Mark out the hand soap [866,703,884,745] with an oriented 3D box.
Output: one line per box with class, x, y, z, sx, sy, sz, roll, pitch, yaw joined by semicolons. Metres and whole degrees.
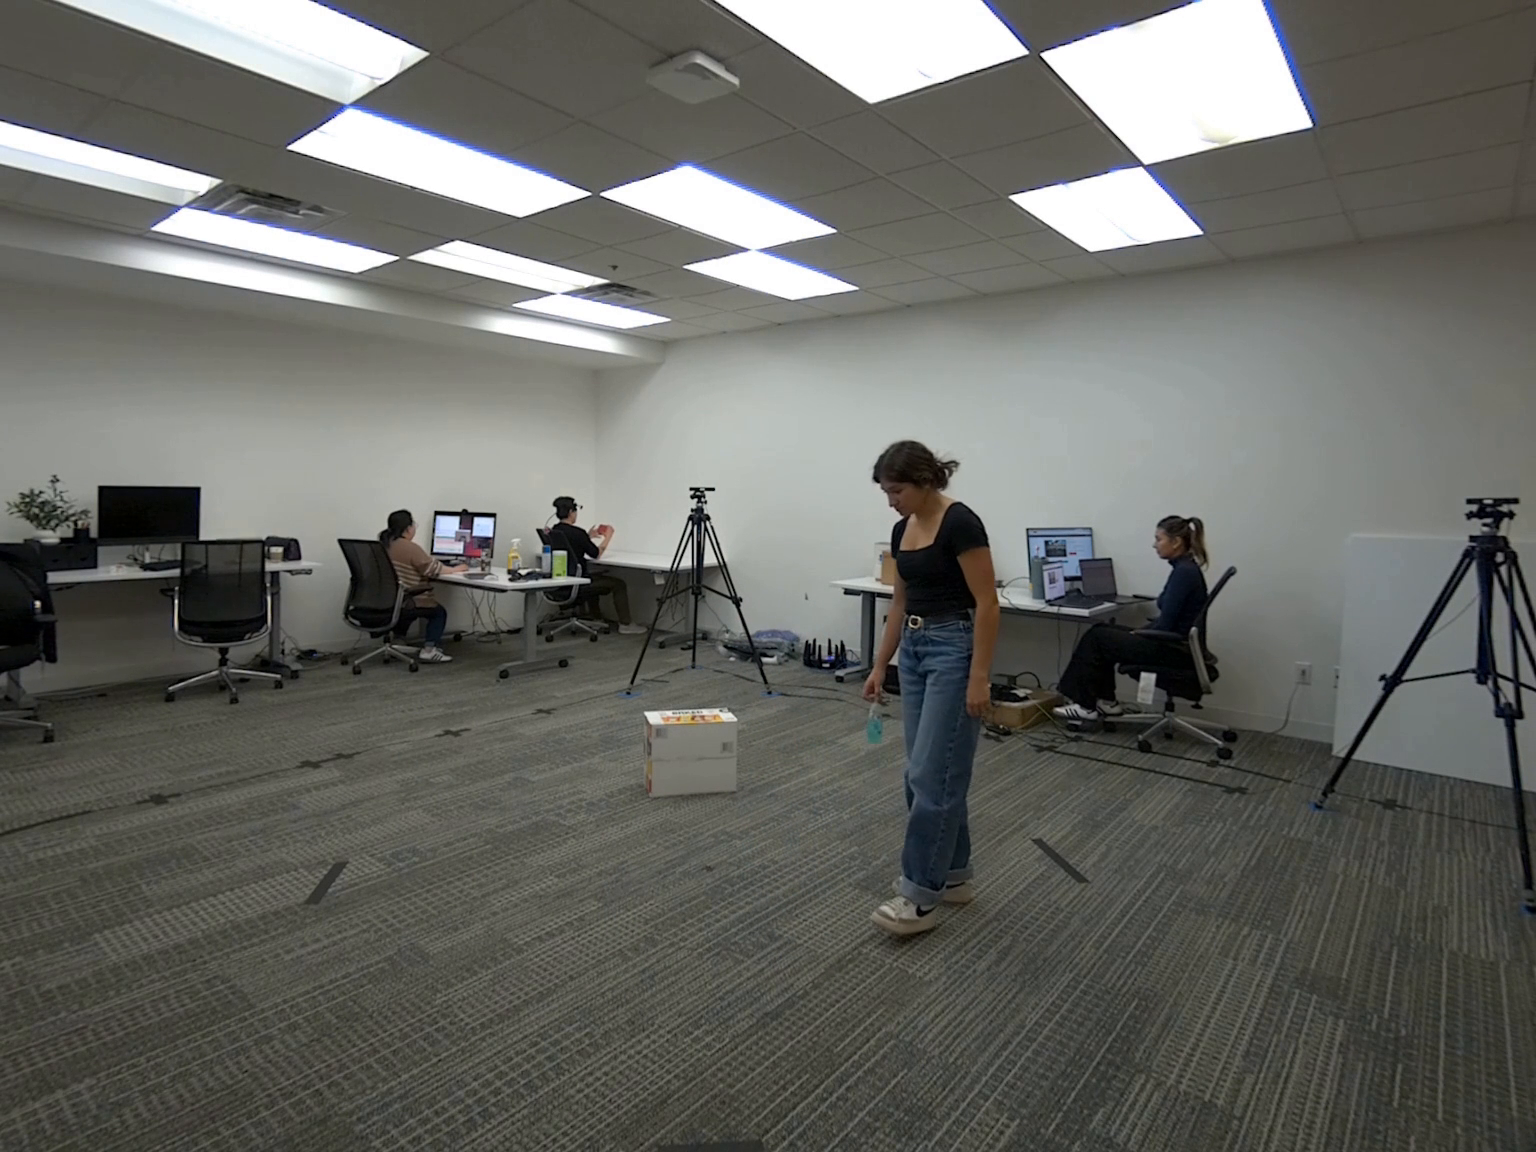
hand soap;0.384;0.510;3.016;0.043;0.168;0.084;-8;-2;2
